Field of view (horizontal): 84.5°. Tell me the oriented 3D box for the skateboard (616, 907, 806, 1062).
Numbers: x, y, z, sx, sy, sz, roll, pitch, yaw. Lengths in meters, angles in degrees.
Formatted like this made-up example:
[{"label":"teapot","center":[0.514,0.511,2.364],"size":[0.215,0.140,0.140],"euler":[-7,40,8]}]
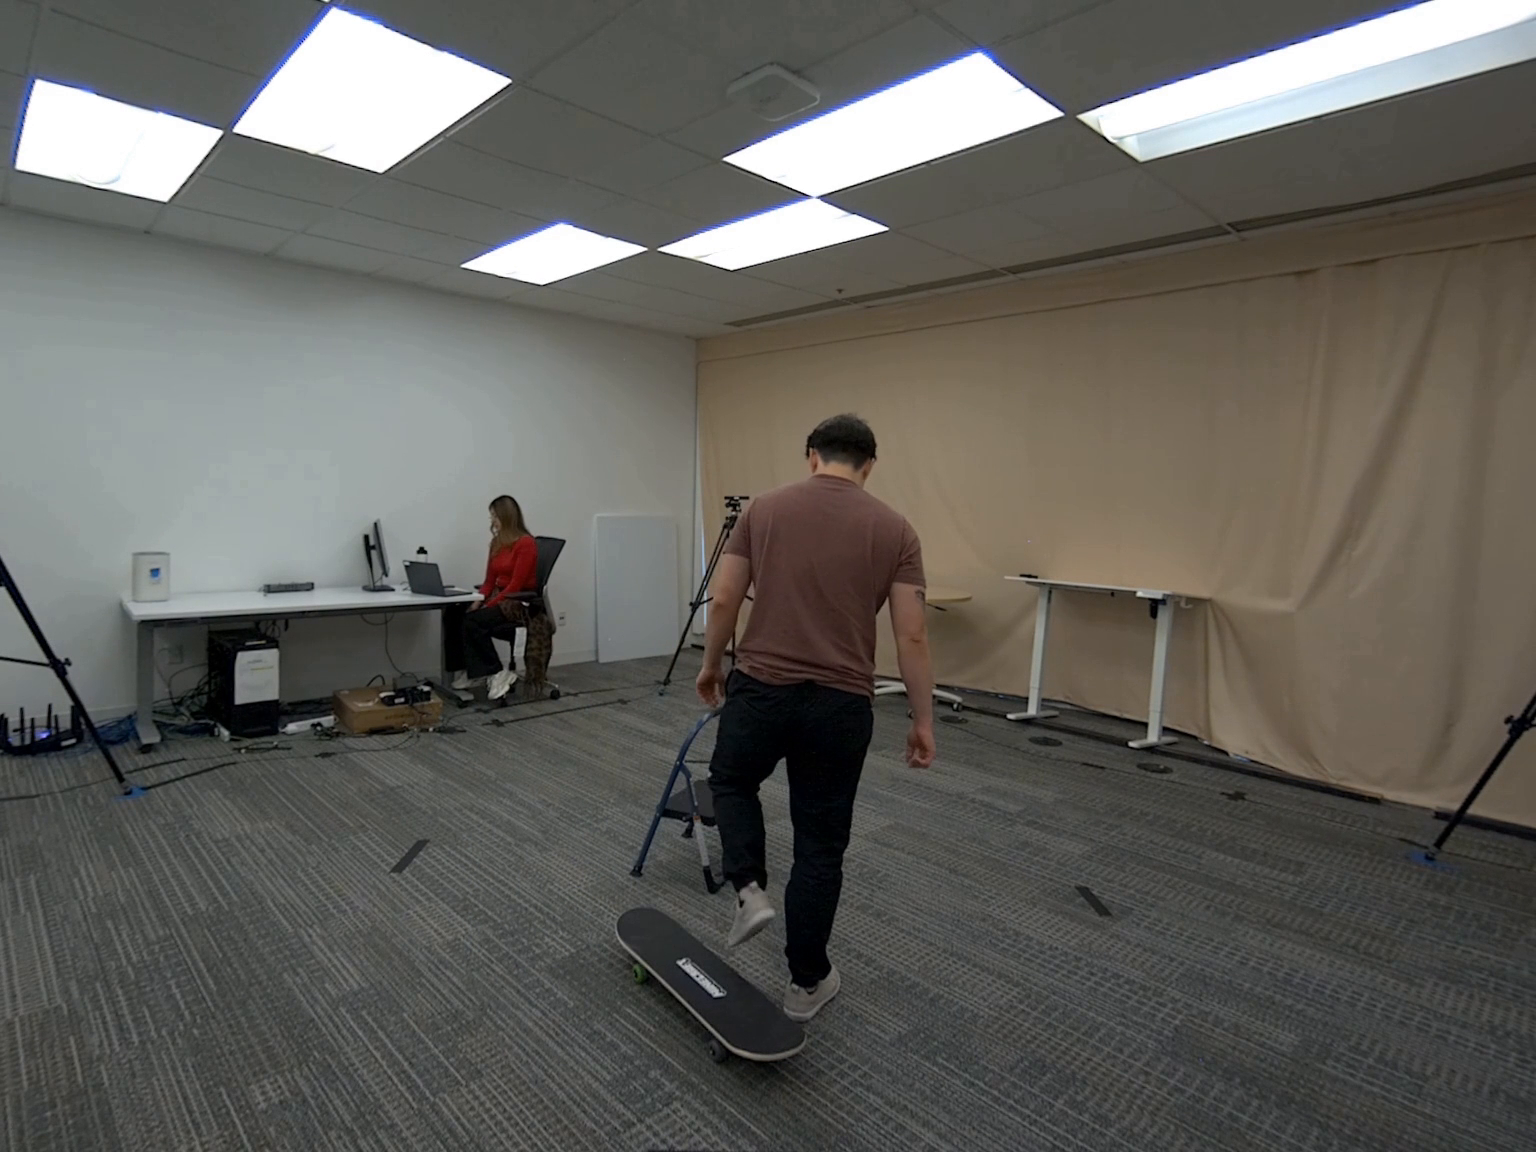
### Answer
[{"label":"skateboard","center":[-0.195,1.124,2.287],"size":[0.189,0.110,0.805],"euler":[-2,7,-36]}]
